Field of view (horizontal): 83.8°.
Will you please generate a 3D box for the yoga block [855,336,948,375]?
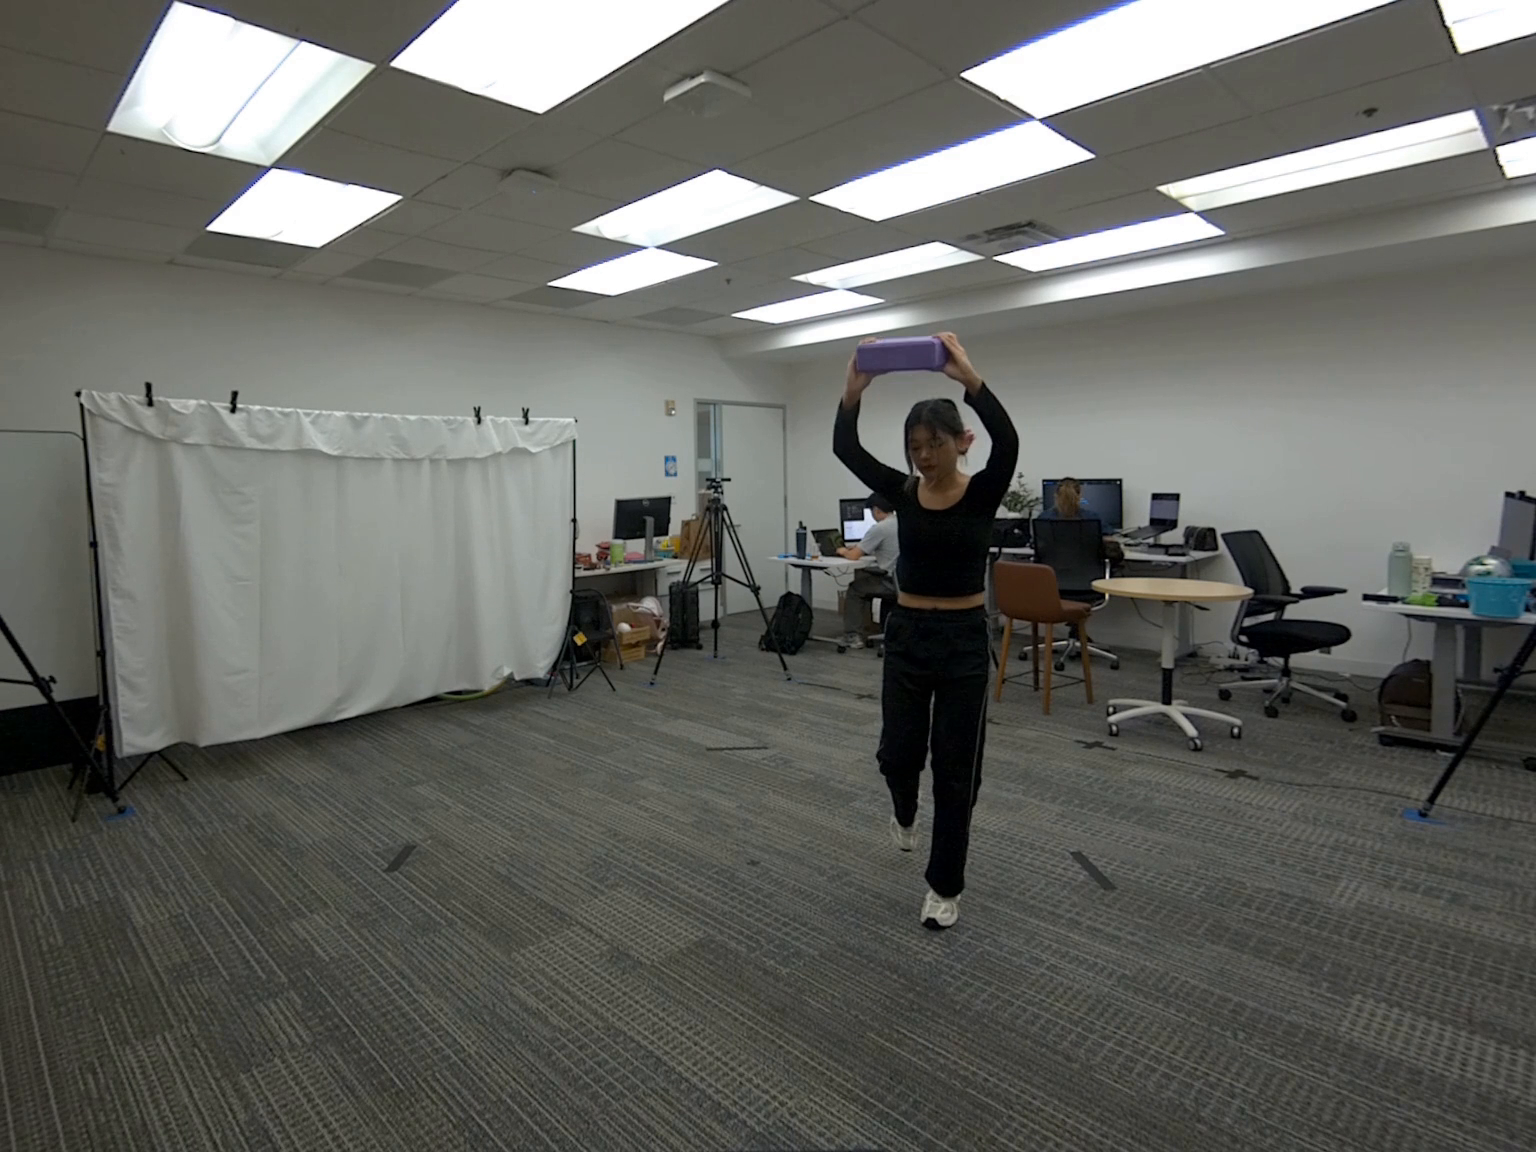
[{"bbox_3d":[0.380,-0.602,2.334,0.236,0.075,0.147,6,20,31],"label":"yoga block"}]
